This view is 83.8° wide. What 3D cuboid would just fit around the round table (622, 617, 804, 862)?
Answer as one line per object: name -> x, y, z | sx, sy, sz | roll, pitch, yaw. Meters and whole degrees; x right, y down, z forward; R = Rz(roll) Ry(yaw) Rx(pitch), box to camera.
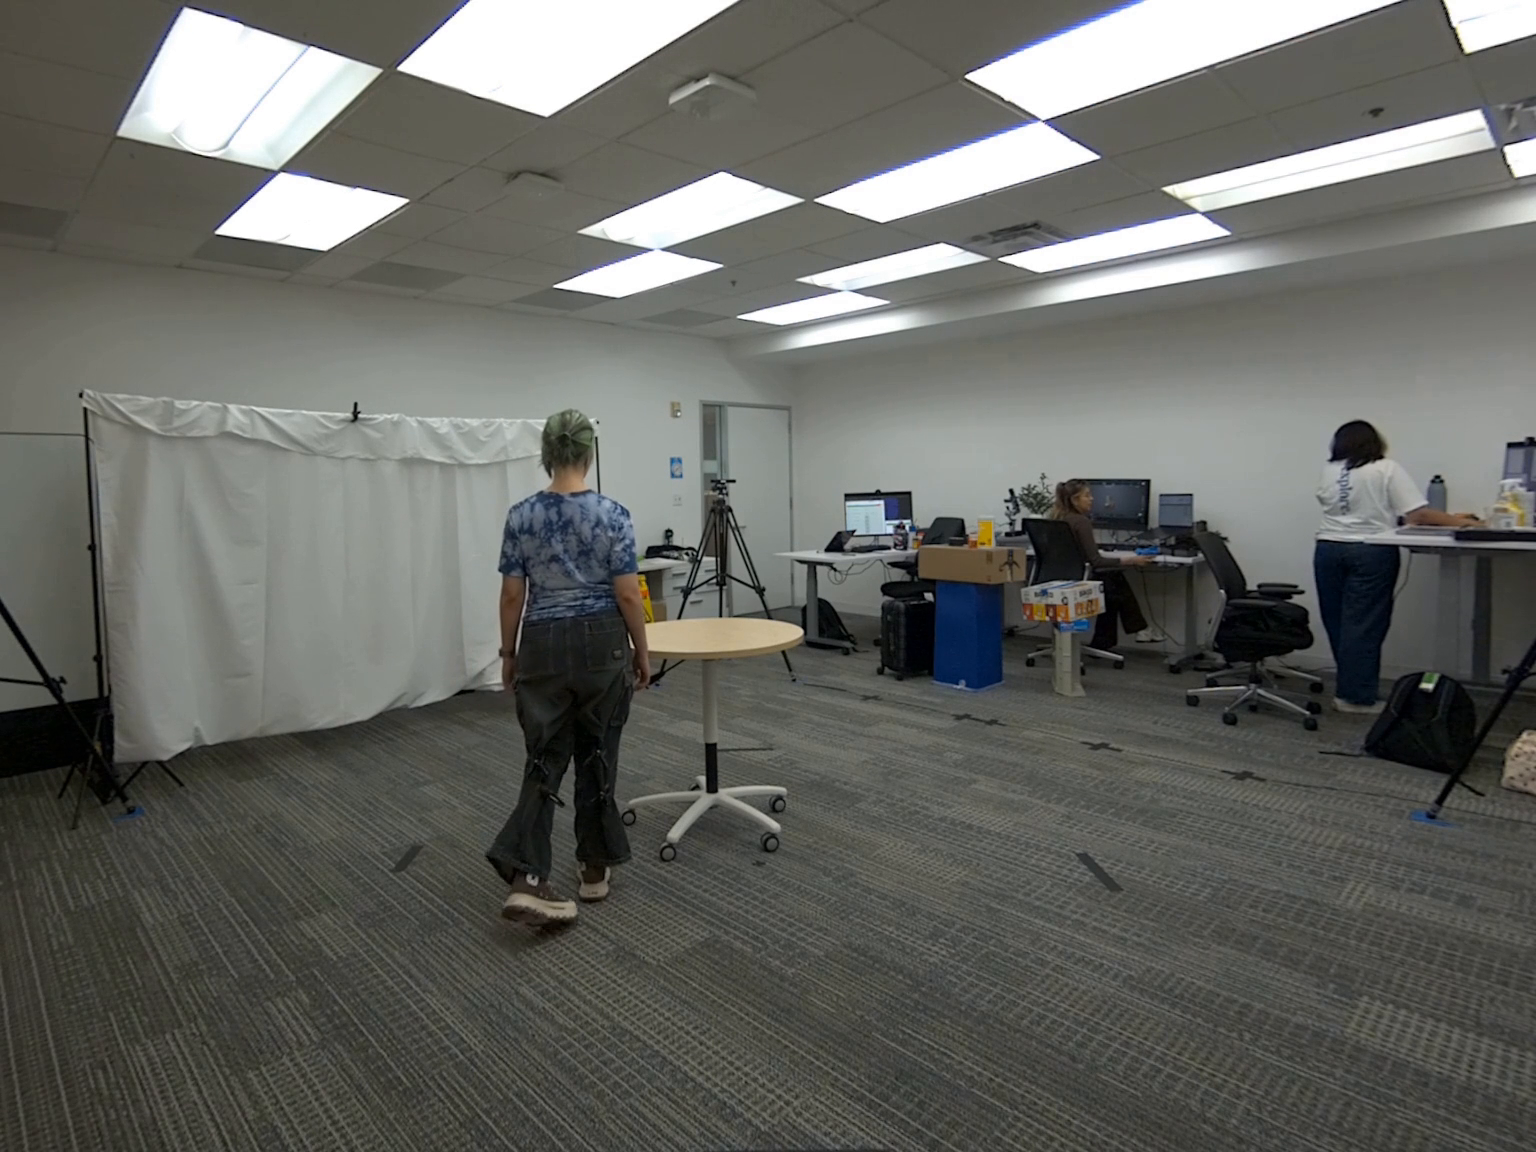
round table -> -0.228, 0.625, 3.432 | 0.763, 0.791, 0.768 | -2, 5, -2
